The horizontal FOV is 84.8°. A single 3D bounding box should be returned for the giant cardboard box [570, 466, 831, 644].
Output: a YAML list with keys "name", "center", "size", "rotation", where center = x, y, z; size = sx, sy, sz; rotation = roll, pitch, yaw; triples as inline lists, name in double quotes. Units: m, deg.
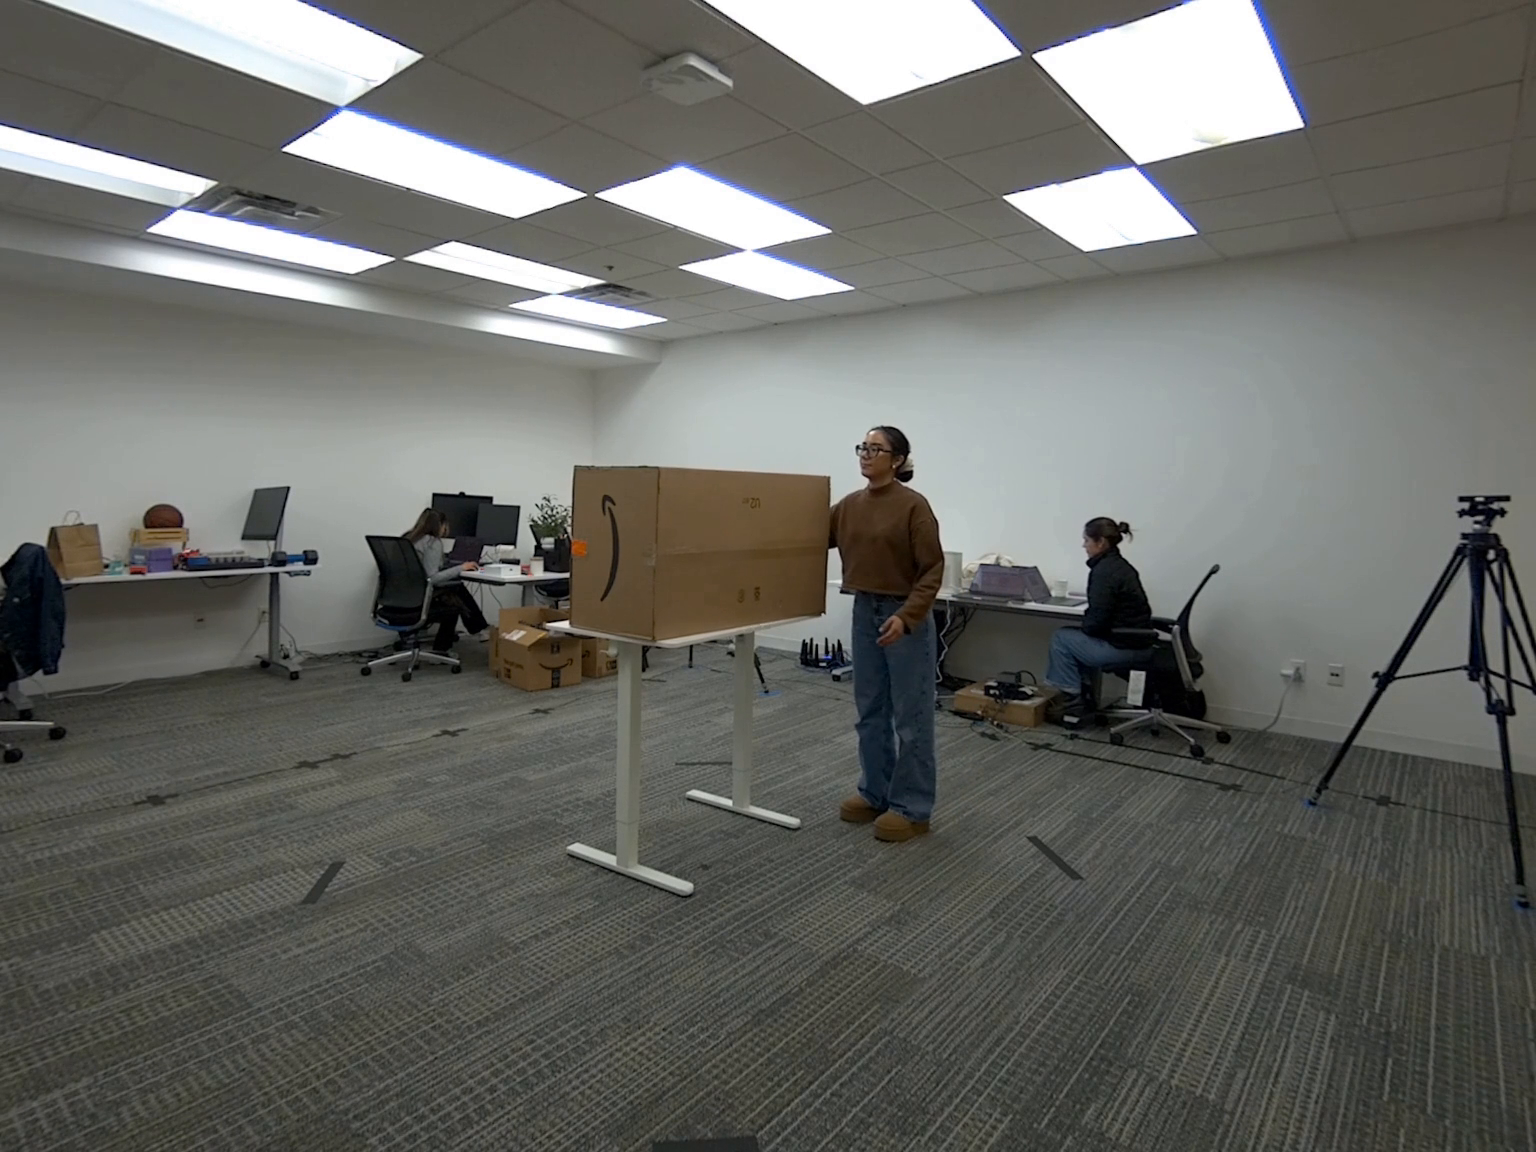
- name: "giant cardboard box"
  center: [-0.235, -0.117, 3.274]
  size: [0.441, 0.575, 0.995]
  rotation: [5, 6, 38]
